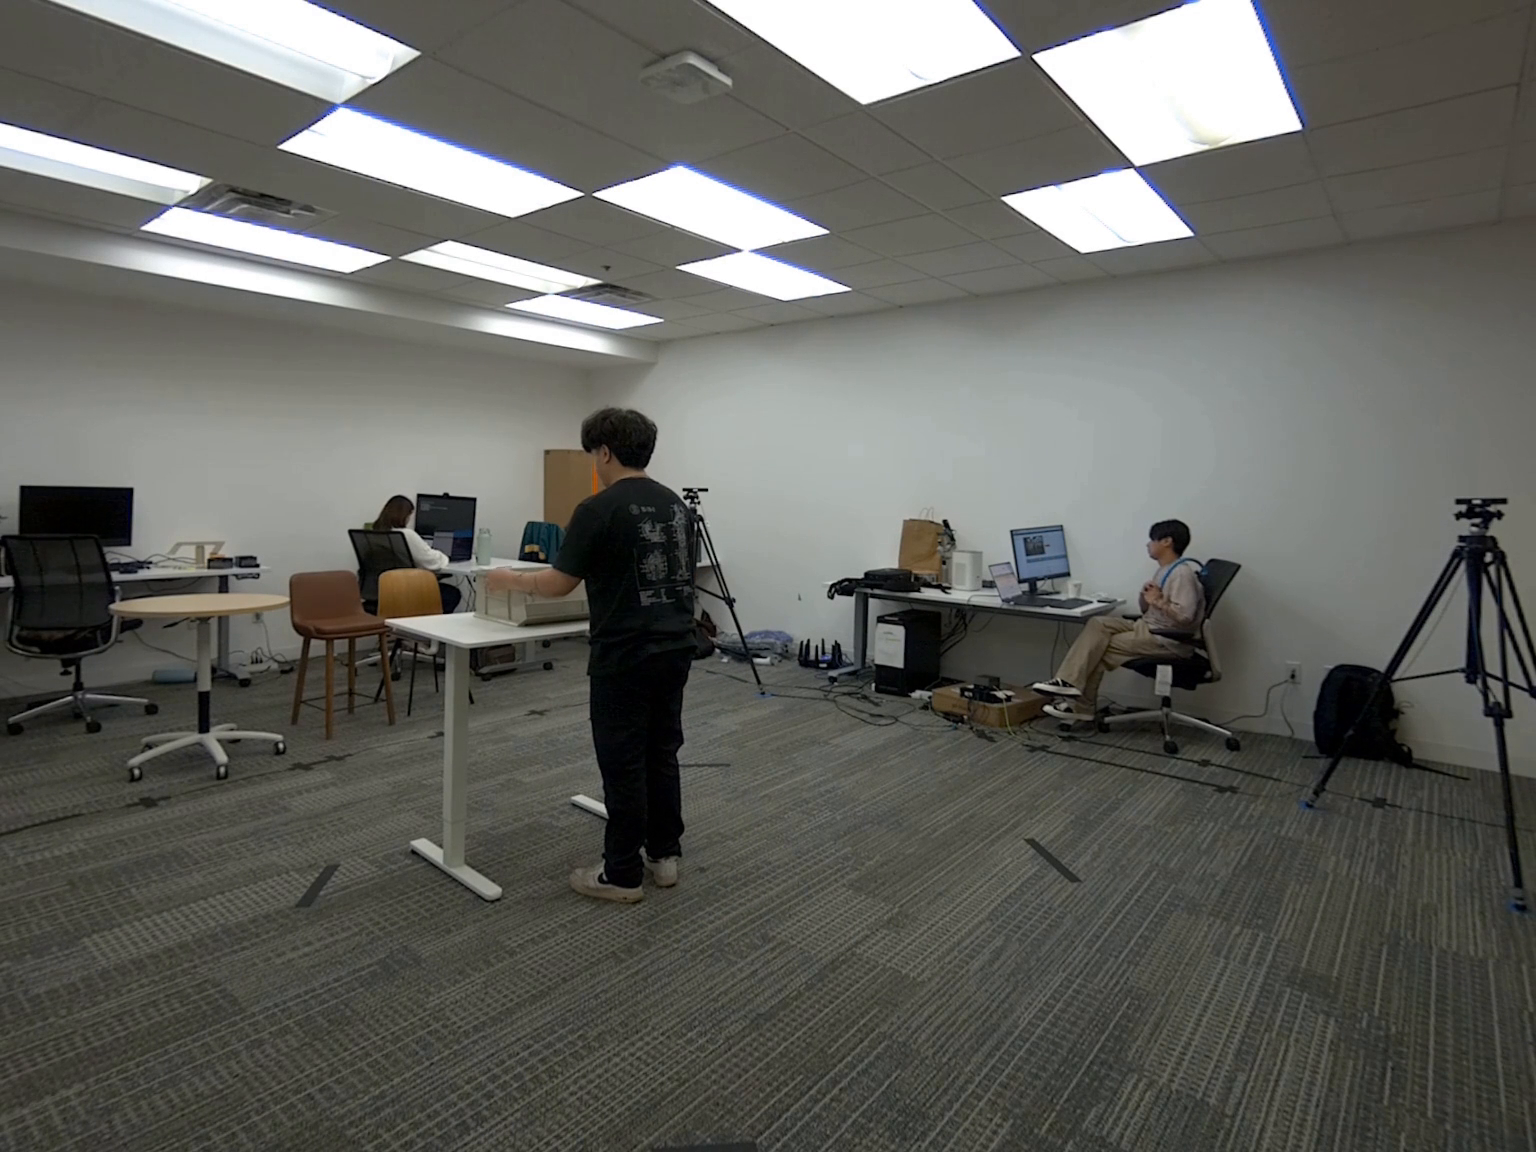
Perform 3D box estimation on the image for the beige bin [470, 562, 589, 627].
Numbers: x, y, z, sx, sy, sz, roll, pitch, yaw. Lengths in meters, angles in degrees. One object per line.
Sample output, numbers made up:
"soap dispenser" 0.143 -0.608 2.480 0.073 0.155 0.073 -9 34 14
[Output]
"beige bin" -0.871 0.073 3.285 0.390 0.188 0.410 5 7 44
